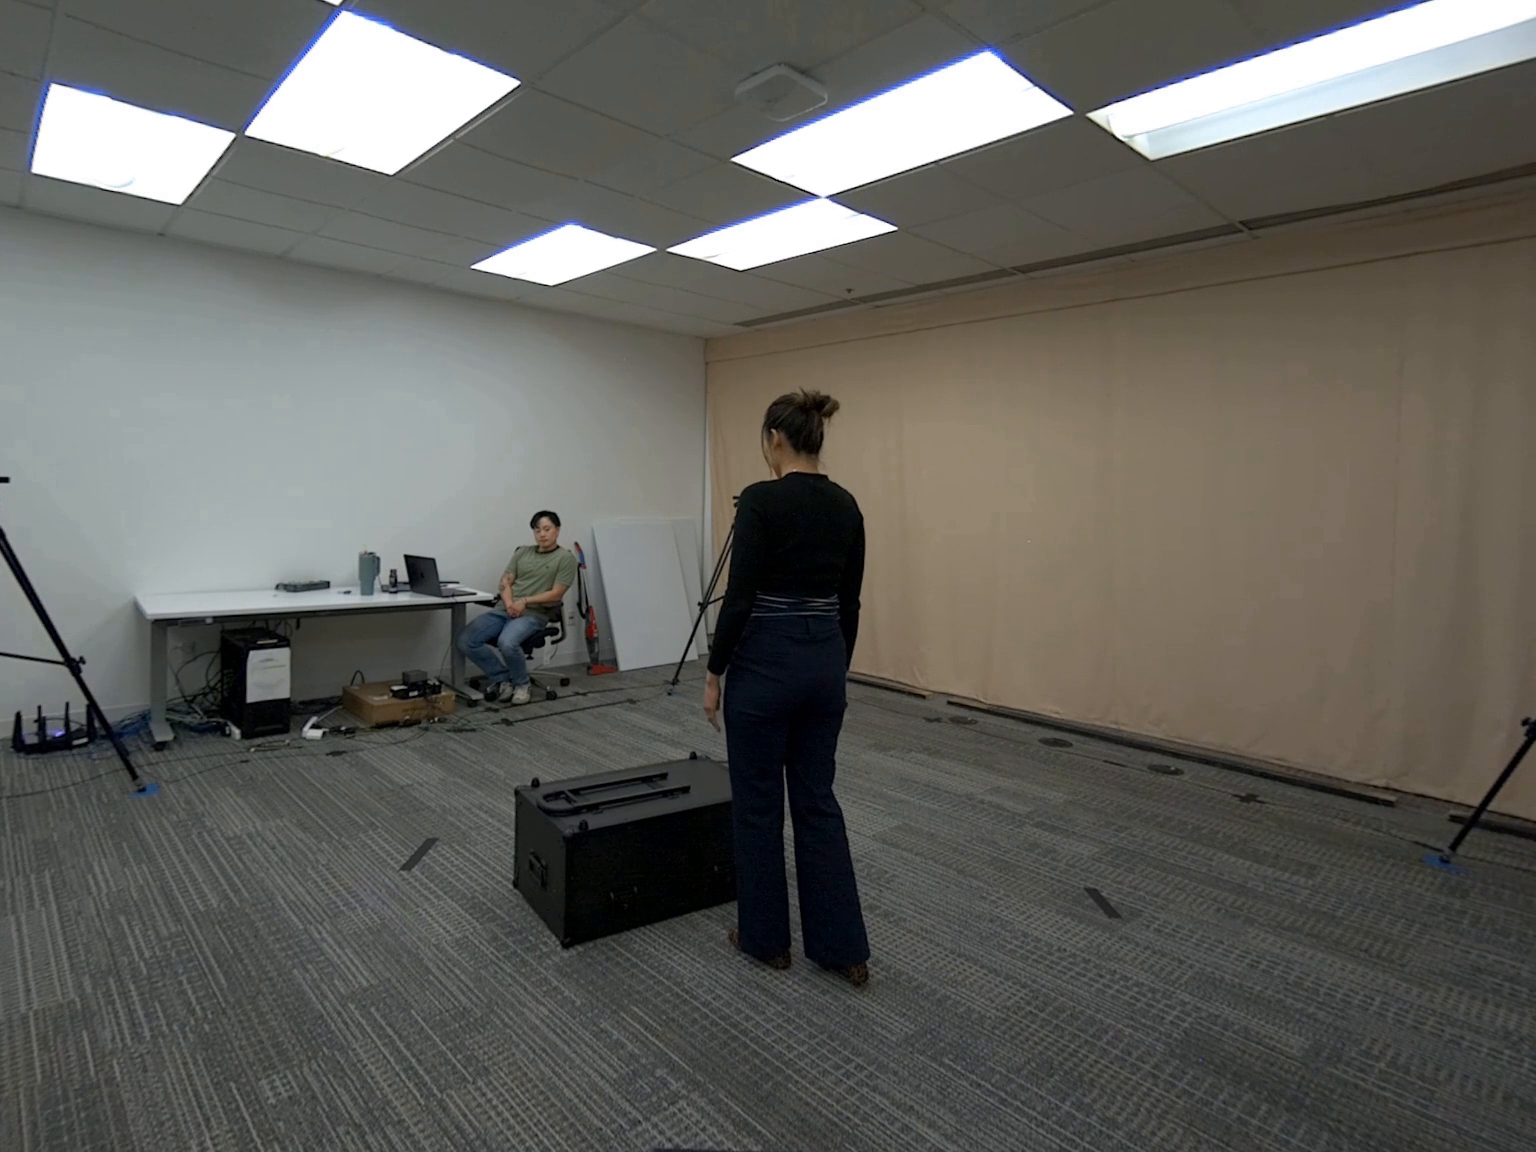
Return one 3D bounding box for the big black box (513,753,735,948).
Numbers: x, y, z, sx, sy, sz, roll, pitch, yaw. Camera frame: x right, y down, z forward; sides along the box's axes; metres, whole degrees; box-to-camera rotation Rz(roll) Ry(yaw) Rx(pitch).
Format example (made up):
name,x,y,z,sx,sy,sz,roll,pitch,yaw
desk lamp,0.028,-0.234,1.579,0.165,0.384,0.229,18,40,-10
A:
name,x,y,z,sx,sy,sz,roll,pitch,yaw
big black box,-0.467,0.937,2.952,0.843,0.395,0.534,-2,5,-33
